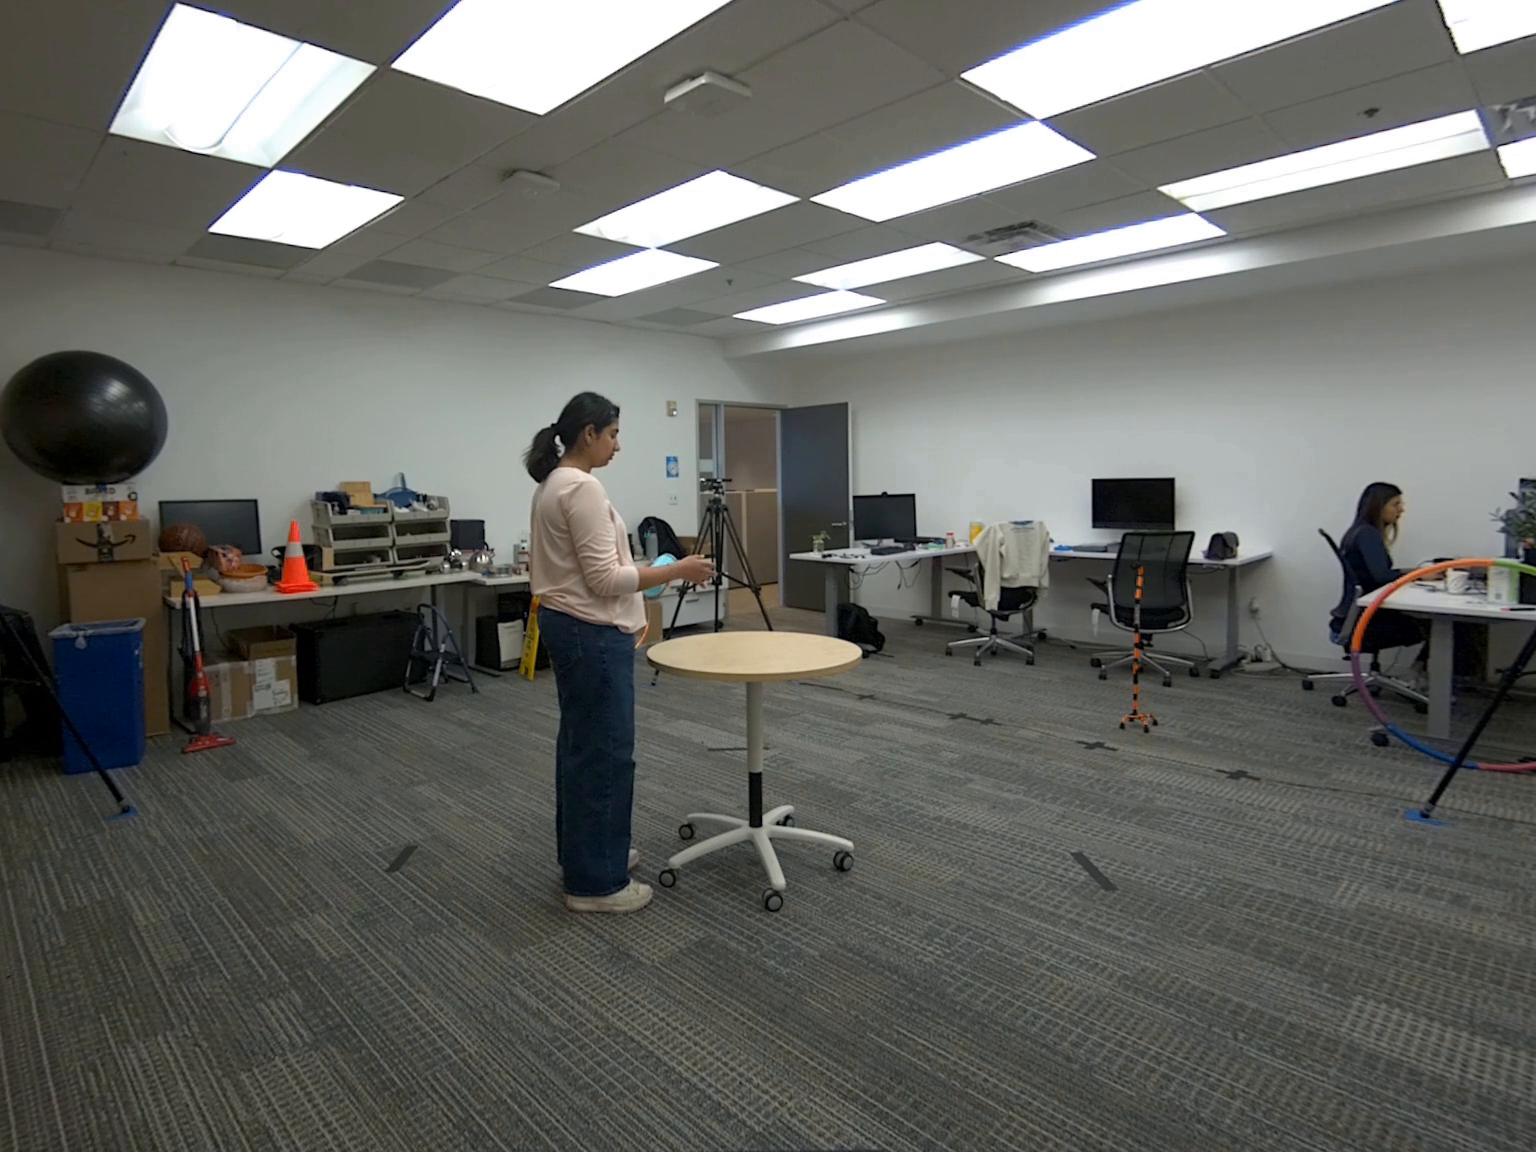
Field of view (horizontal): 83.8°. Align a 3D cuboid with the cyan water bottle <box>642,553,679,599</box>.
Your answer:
[{"bbox_3d":[-0.403,-0.008,3.166,0.093,0.091,0.284,0,19,12],"label":"cyan water bottle"}]
